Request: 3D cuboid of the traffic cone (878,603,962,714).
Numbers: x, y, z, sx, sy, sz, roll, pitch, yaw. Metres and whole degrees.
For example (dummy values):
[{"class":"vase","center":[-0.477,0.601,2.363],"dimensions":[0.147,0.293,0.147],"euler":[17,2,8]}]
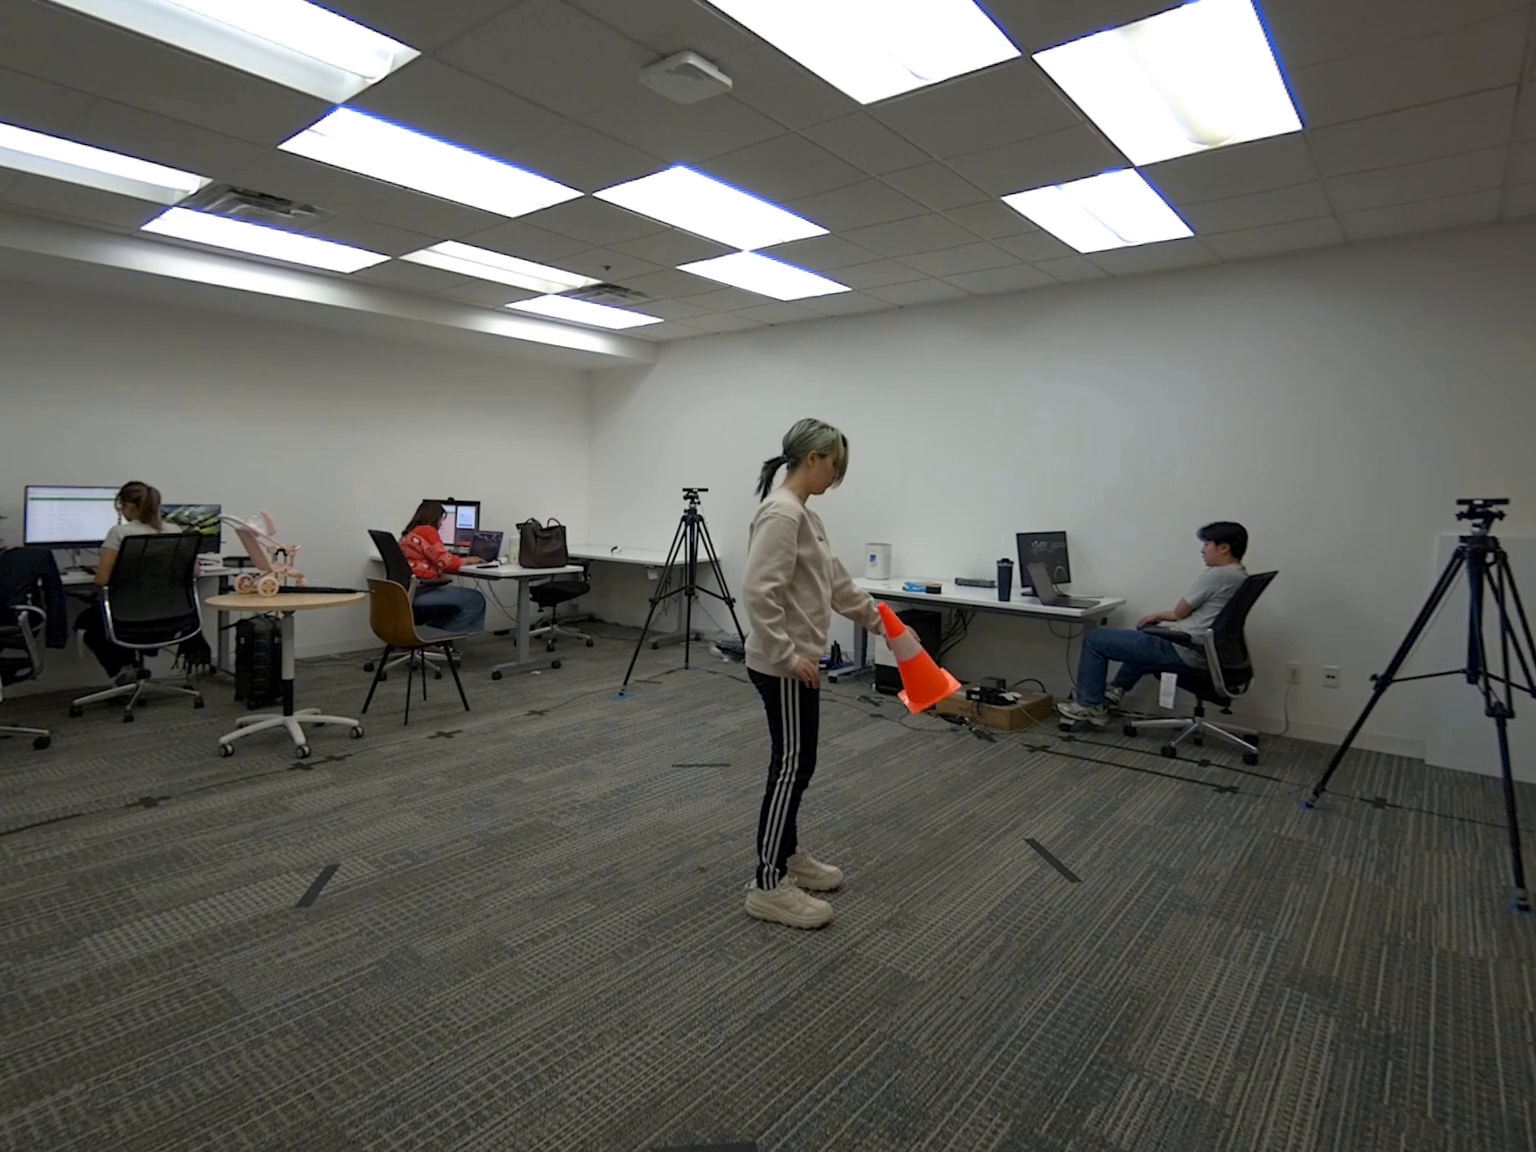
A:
[{"class":"traffic cone","center":[0.476,0.258,3.011],"dimensions":[0.203,0.377,0.209],"euler":[-31,13,0]}]
